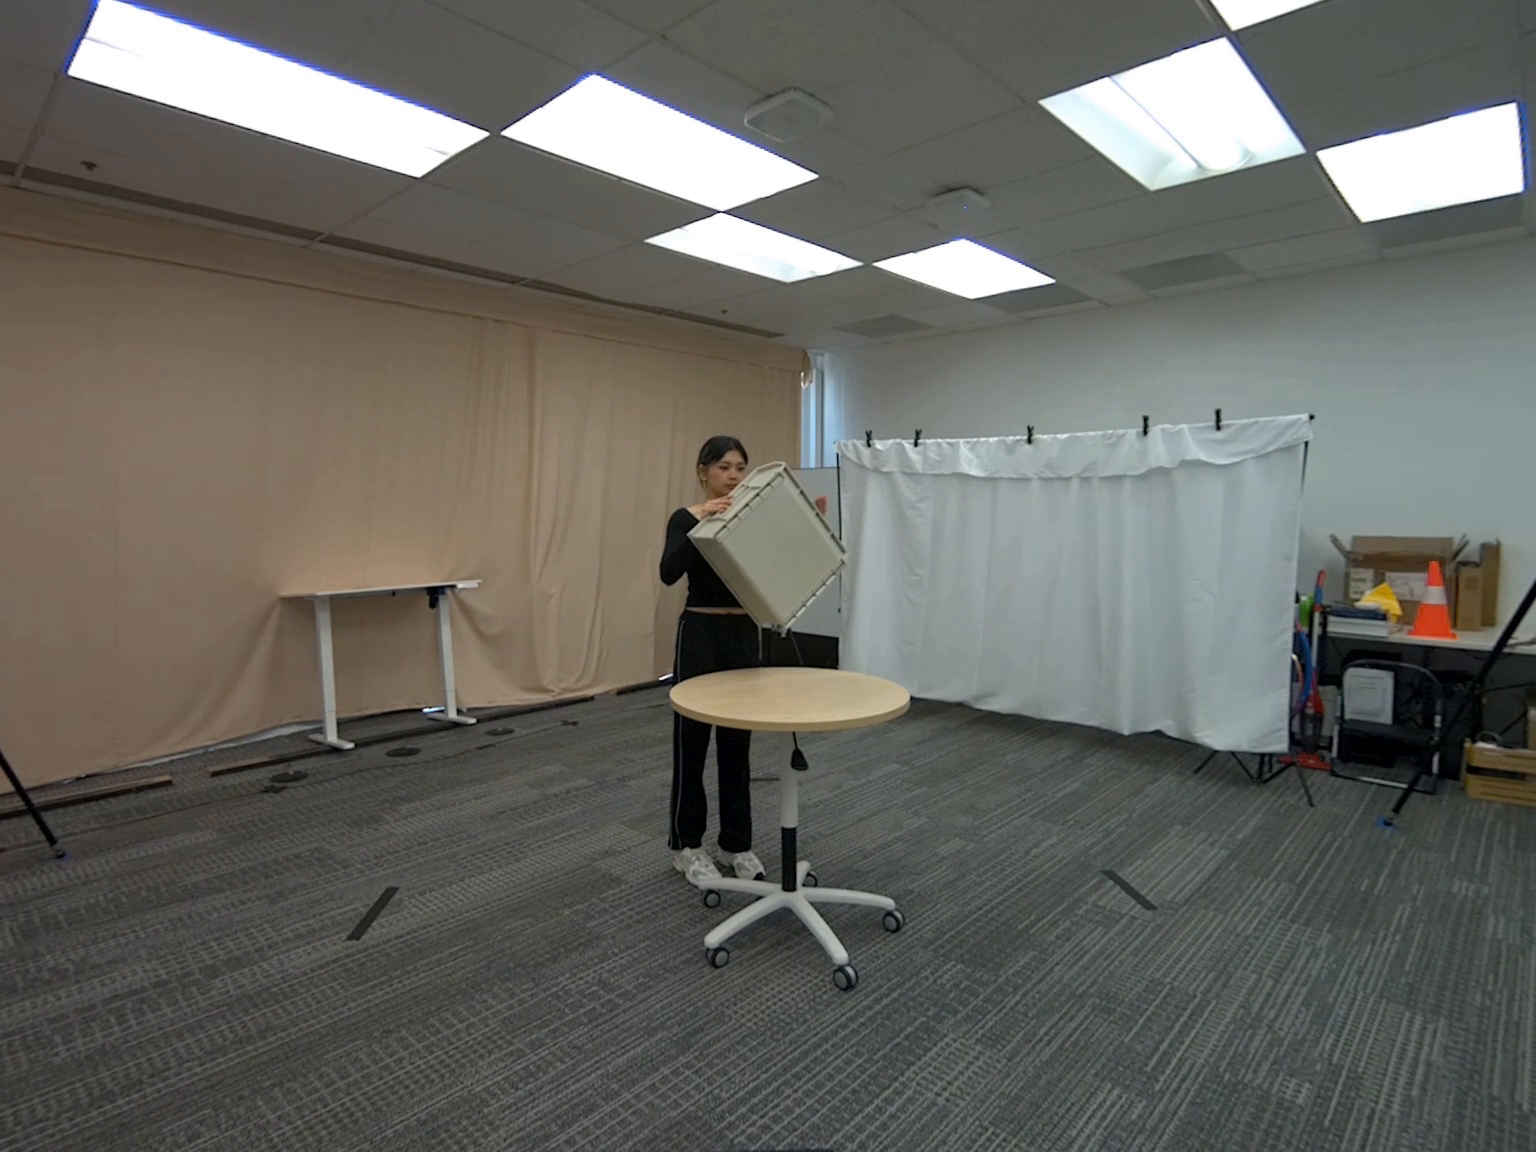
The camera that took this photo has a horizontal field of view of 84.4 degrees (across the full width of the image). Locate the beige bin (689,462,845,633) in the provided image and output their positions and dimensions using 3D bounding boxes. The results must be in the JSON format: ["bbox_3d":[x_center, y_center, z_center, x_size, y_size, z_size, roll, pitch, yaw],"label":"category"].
[{"bbox_3d":[0.023,-0.102,2.830,0.375,0.413,0.194,-44,21,-20],"label":"beige bin"}]
